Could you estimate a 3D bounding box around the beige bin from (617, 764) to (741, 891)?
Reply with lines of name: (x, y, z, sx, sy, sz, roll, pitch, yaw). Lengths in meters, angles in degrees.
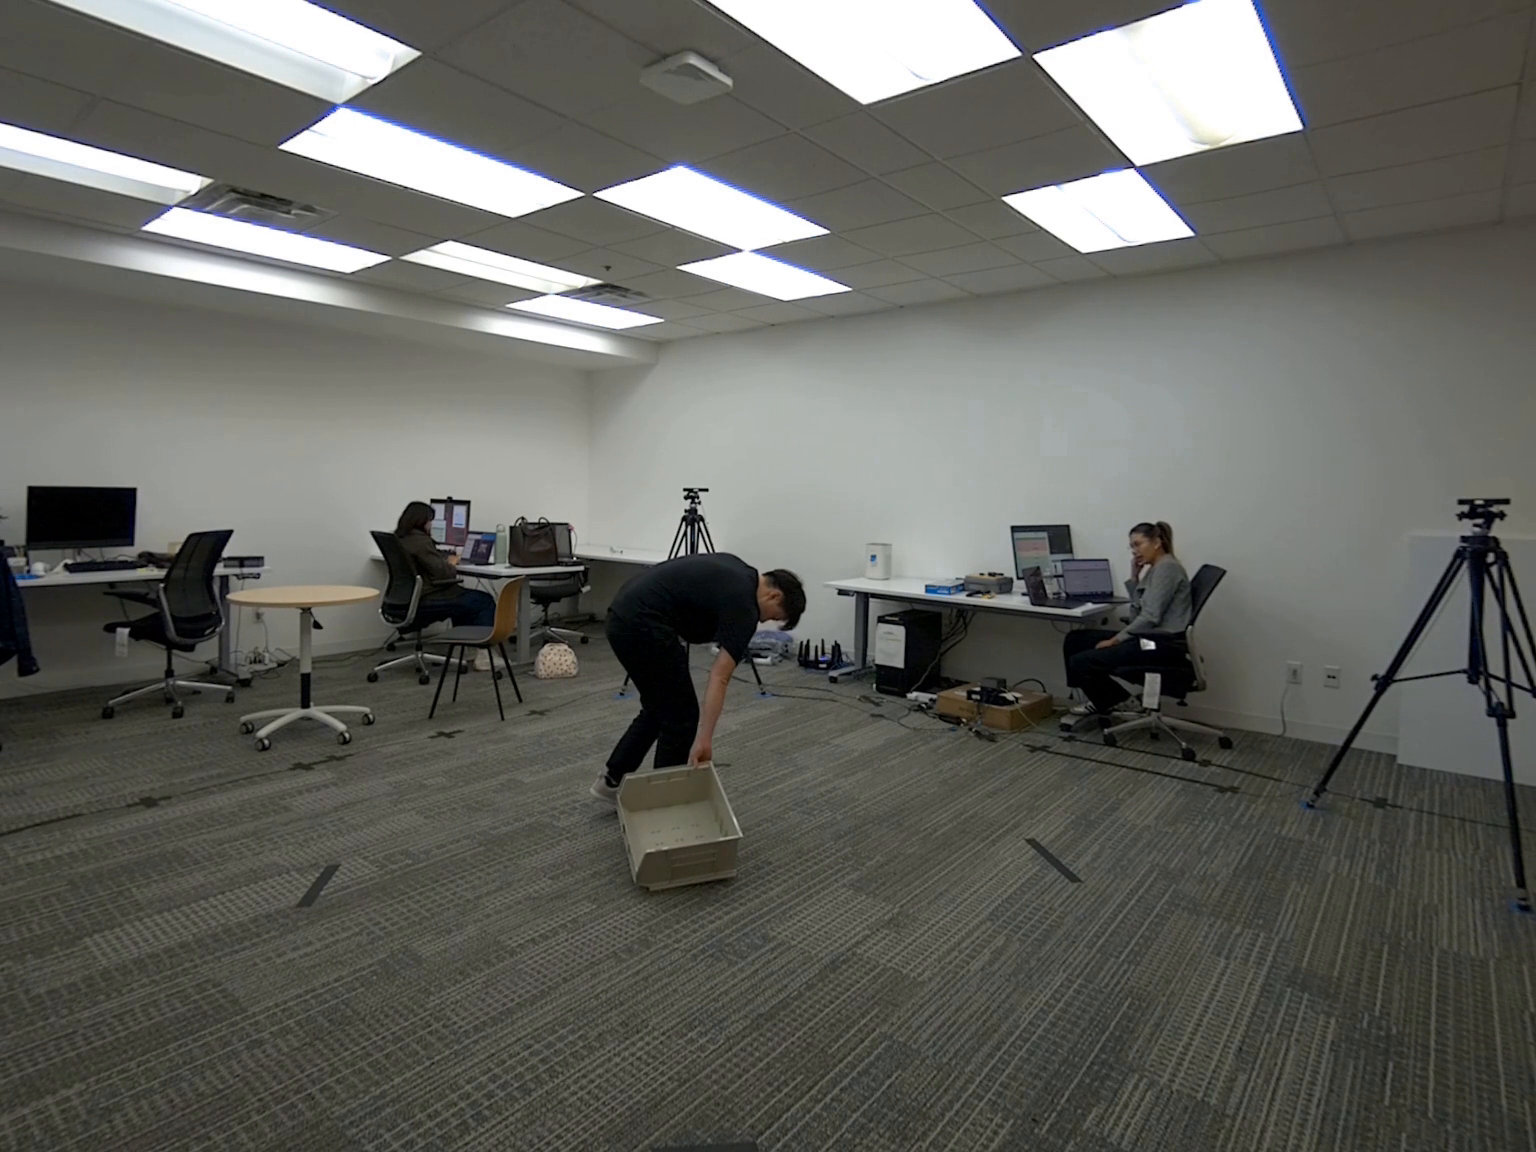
beige bin: (-0.344, 0.905, 3.115, 0.371, 0.185, 0.437, -4, 24, -17)
